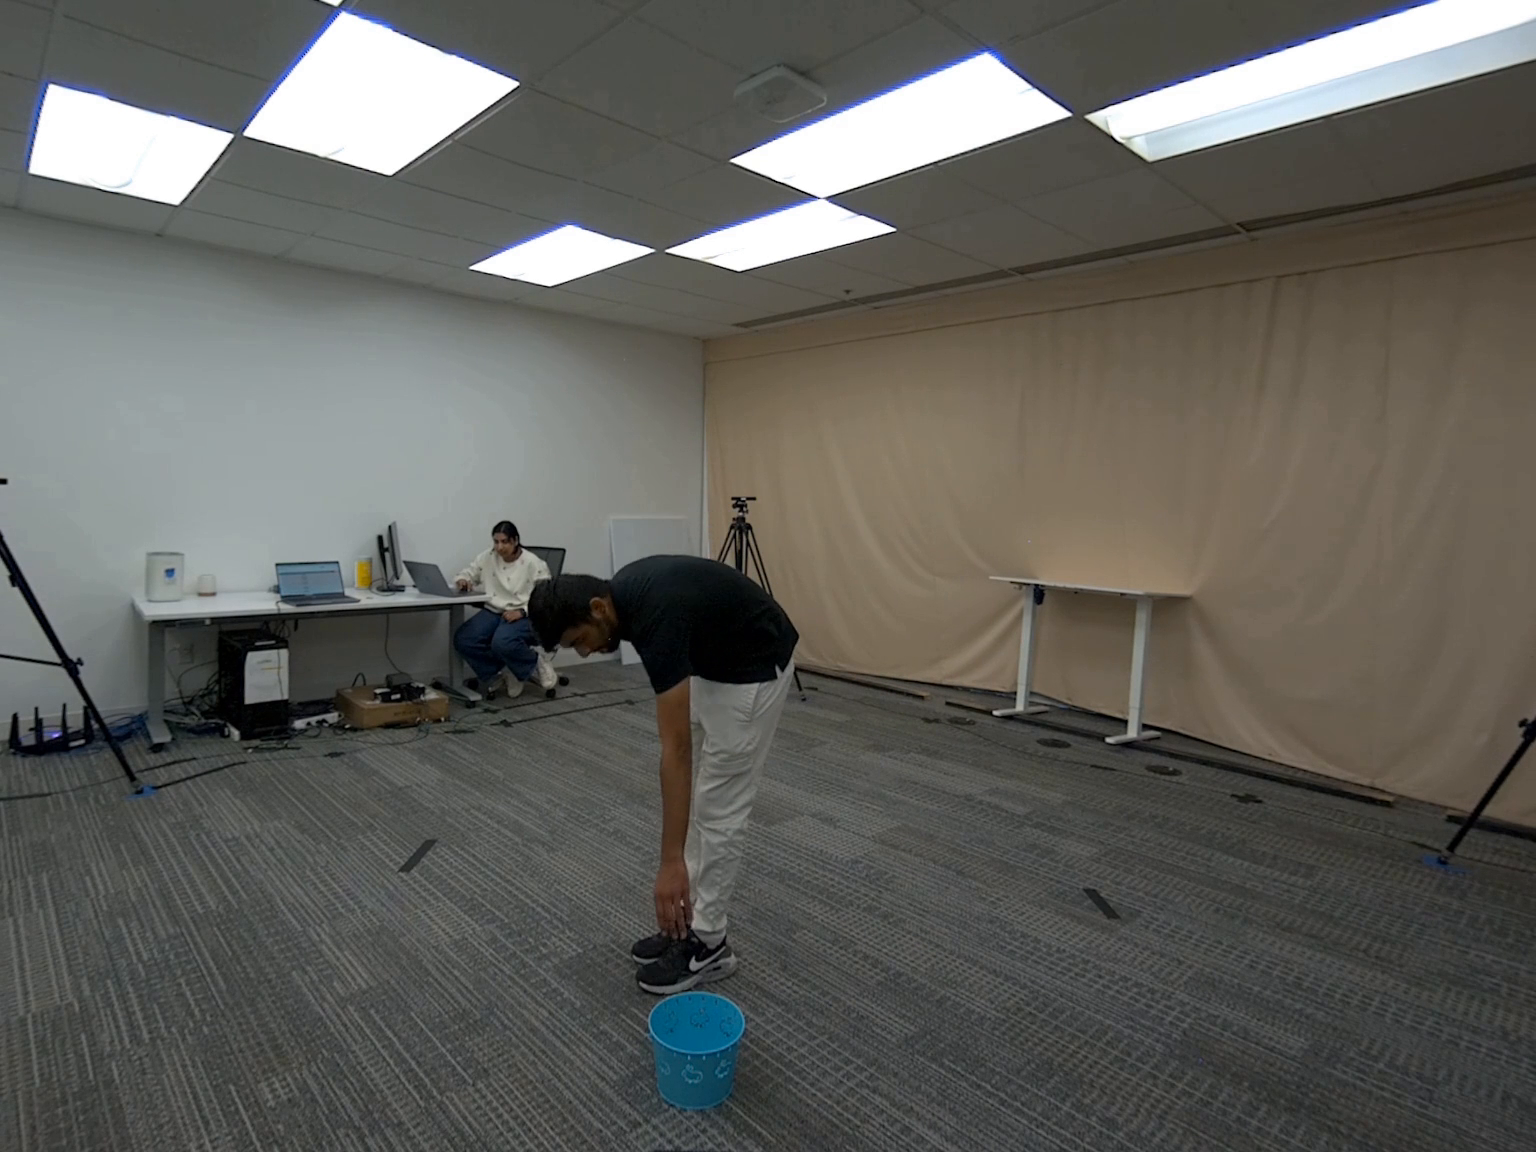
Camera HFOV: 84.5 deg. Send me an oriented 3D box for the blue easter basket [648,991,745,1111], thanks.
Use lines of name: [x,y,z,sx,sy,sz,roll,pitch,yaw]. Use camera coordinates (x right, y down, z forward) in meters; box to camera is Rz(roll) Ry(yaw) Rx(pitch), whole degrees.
blue easter basket: [-0.178,1.137,2.000,0.243,0.155,0.244,3,5,-2]
